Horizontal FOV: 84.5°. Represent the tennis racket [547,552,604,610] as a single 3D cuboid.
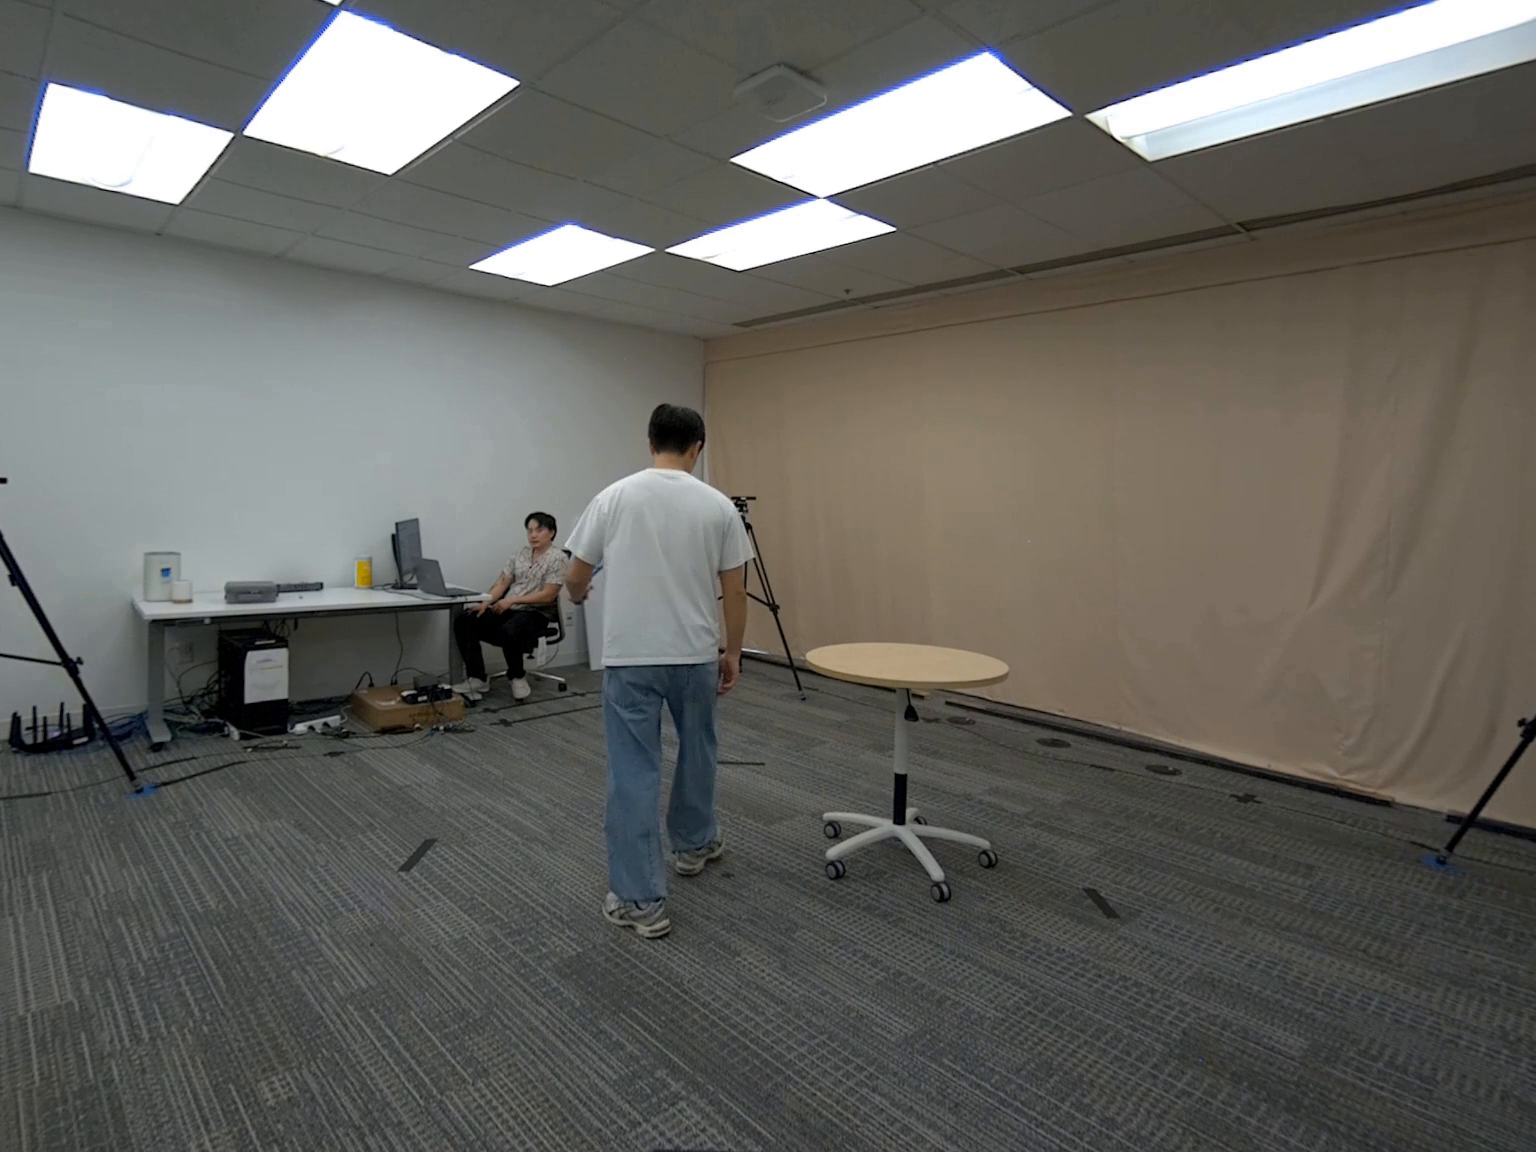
[{"bbox_3d":[-0.670,-0.055,3.233,0.216,0.031,0.440,1,47,12],"label":"tennis racket"}]
